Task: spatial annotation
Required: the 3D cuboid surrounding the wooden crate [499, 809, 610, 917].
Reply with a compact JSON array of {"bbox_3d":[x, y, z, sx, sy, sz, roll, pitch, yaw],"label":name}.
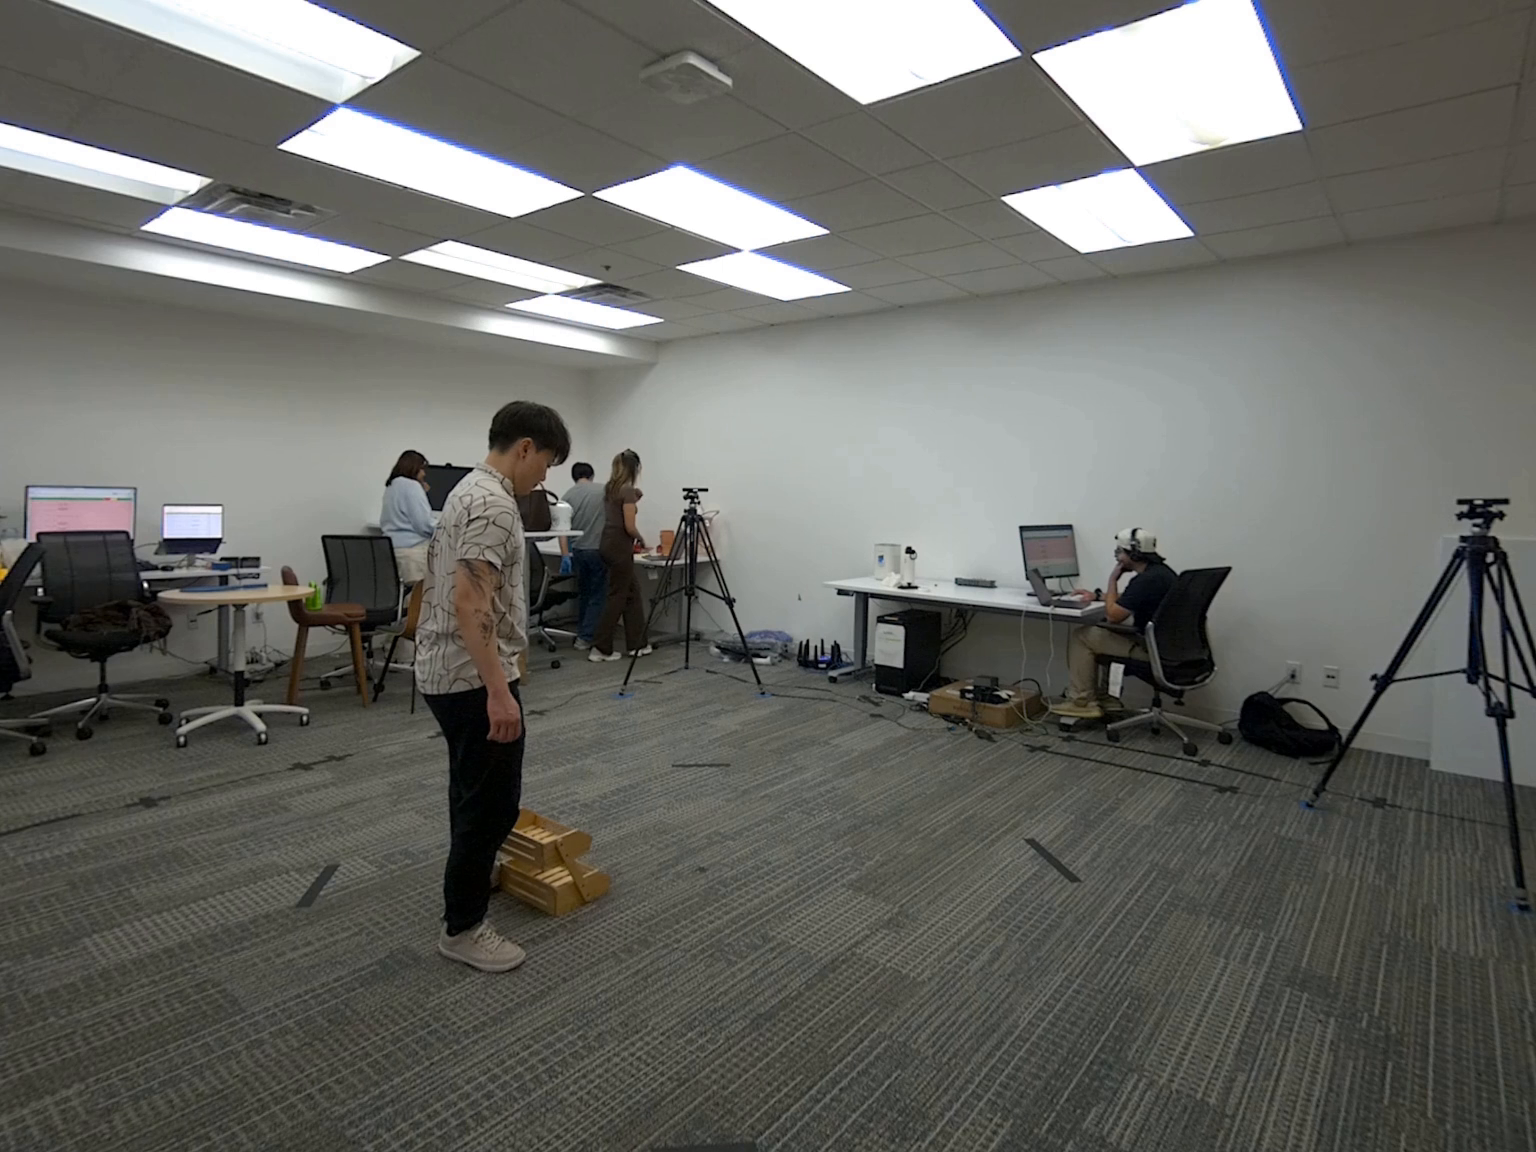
[{"bbox_3d":[-0.750,0.946,2.902,0.335,0.272,0.293,4,6,38],"label":"wooden crate"}]
